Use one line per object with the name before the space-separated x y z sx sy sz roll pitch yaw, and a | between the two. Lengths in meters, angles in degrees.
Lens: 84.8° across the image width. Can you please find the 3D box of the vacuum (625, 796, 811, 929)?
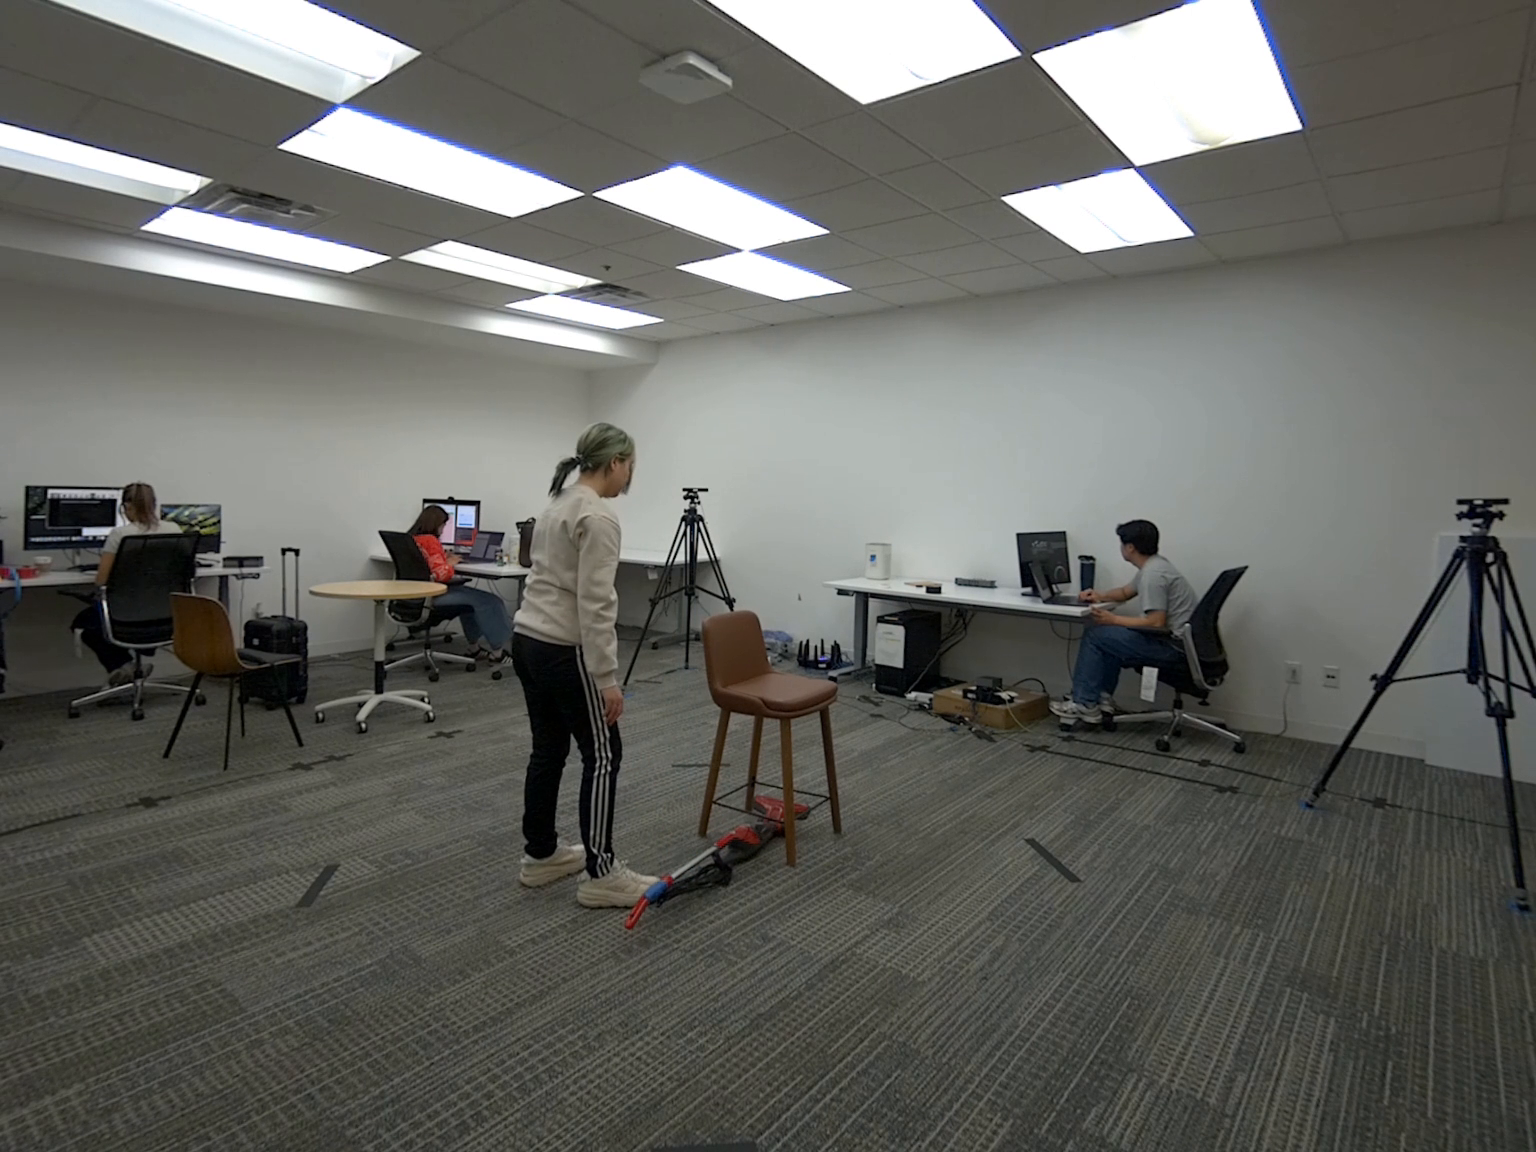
vacuum | -0.192 1.026 3.030 0.259 0.143 1.025 2 6 27
